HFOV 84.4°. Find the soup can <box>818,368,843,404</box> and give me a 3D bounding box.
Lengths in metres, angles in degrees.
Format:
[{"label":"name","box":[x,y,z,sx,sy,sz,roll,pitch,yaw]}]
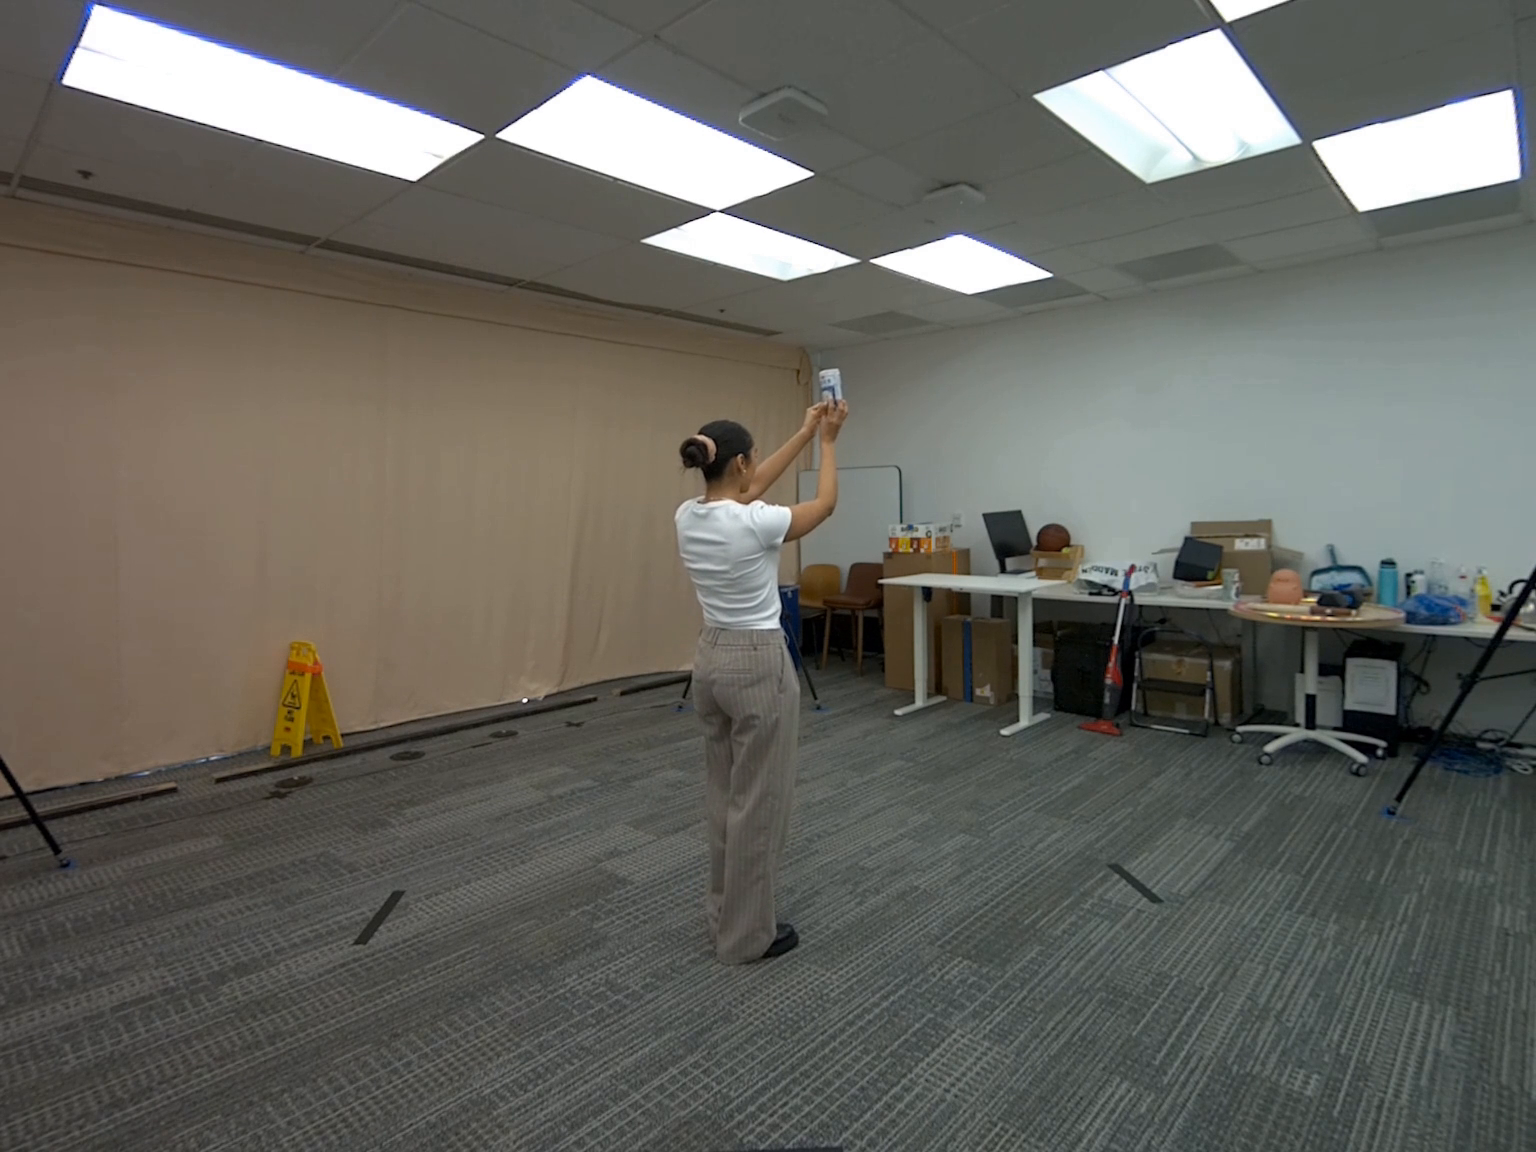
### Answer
[{"label":"soup can","box":[0.216,-0.612,2.742,0.067,0.121,0.067,-6,3,-1]}]
